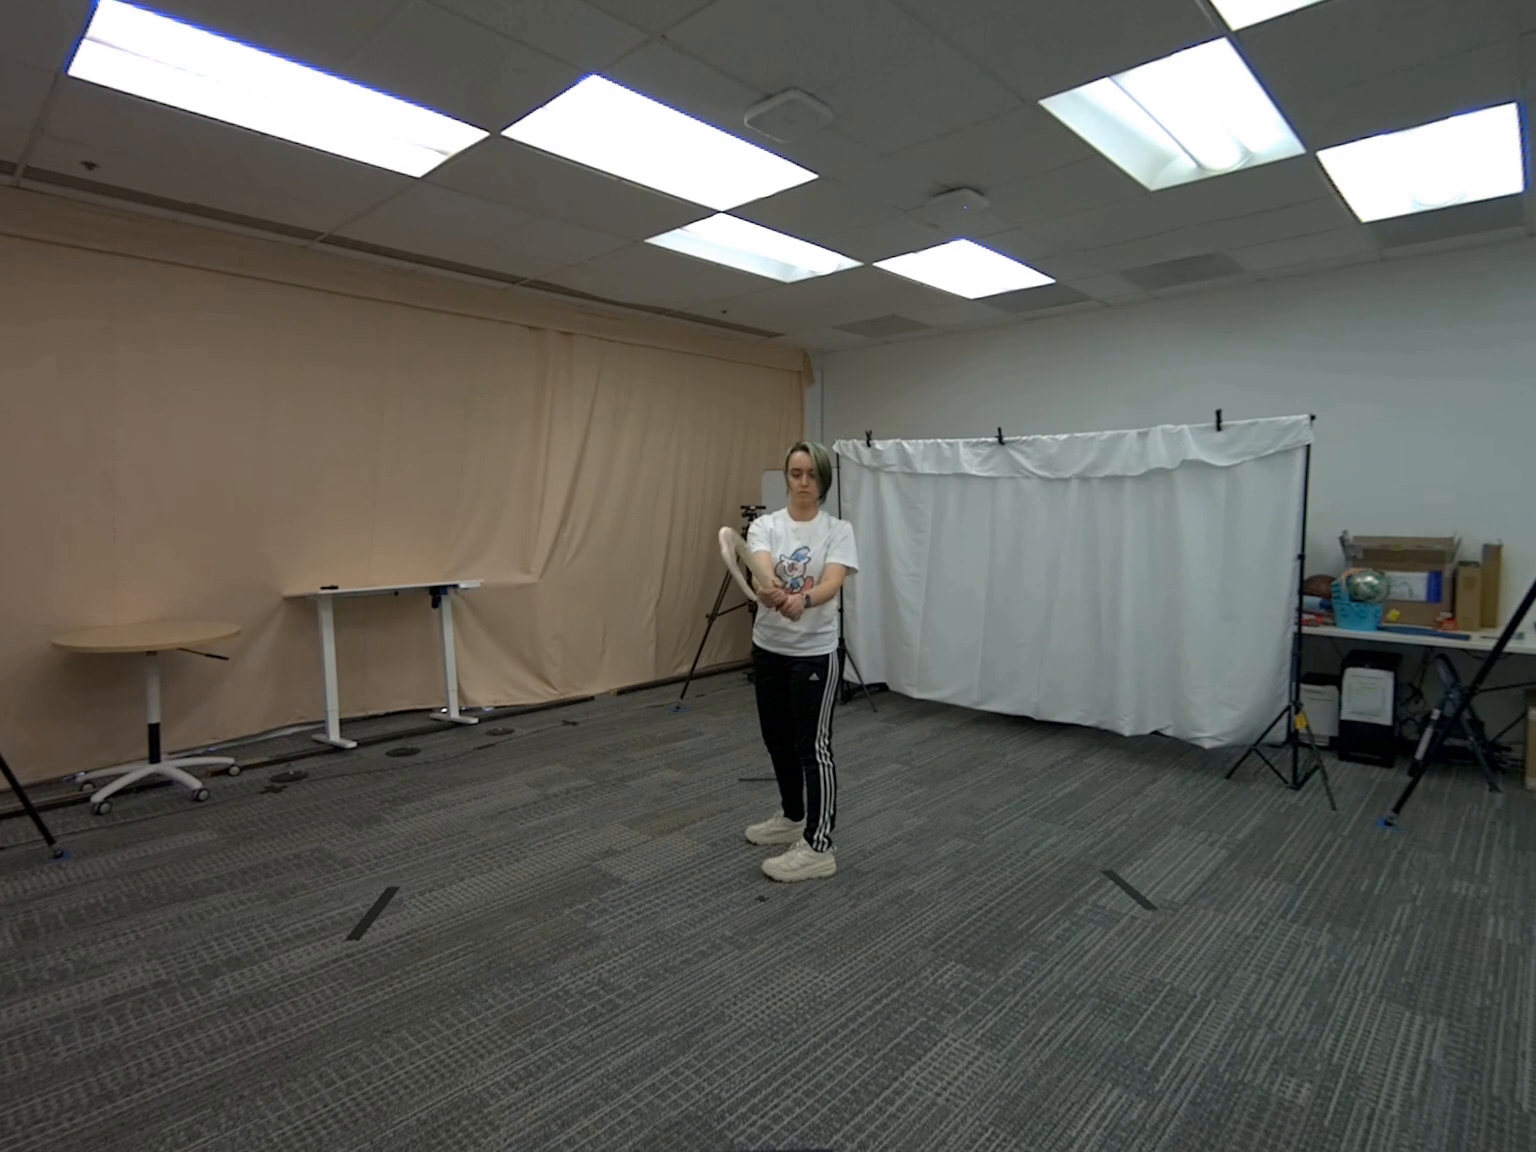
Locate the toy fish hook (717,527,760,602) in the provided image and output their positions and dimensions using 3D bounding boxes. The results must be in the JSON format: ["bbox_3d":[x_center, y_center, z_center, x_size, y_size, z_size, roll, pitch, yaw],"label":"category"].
[{"bbox_3d":[-0.026,0.052,2.645,0.049,0.228,0.489,-19,-46,22],"label":"toy fish hook"}]
